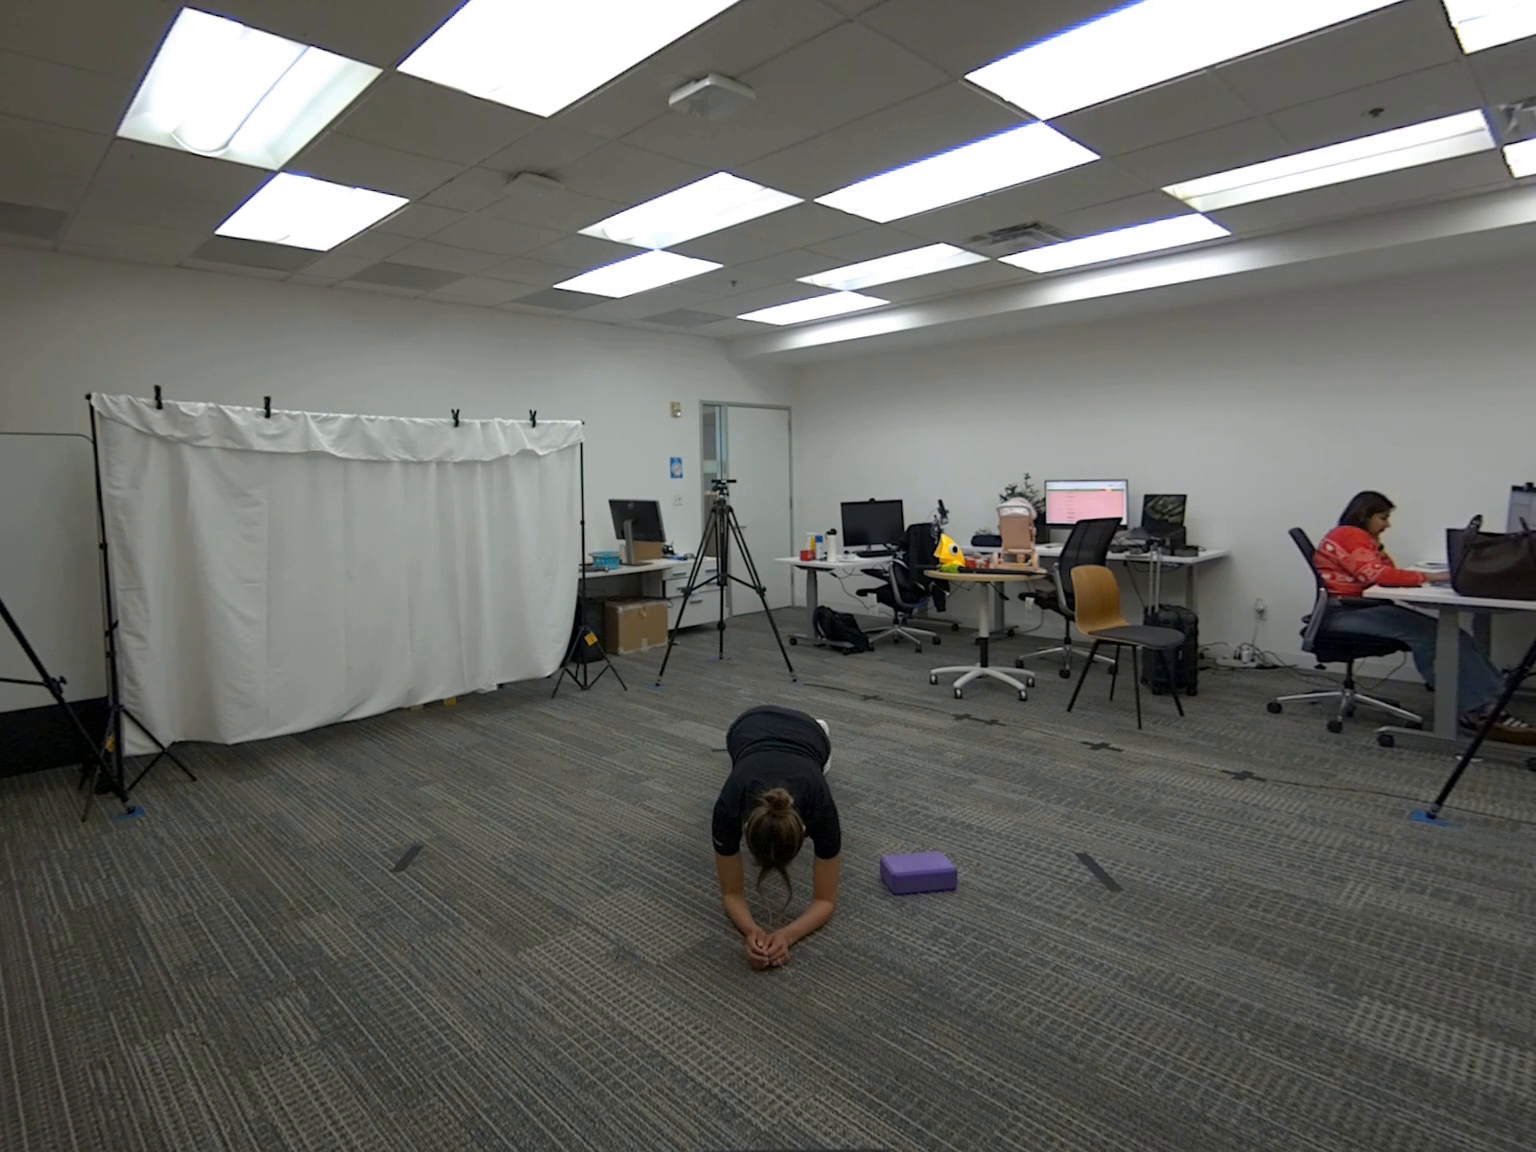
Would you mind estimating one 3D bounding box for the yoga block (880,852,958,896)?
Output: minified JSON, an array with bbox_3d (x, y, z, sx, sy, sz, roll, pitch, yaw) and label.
[{"bbox_3d":[0.520,1.015,2.926,0.227,0.076,0.151,-3,4,-9],"label":"yoga block"}]
